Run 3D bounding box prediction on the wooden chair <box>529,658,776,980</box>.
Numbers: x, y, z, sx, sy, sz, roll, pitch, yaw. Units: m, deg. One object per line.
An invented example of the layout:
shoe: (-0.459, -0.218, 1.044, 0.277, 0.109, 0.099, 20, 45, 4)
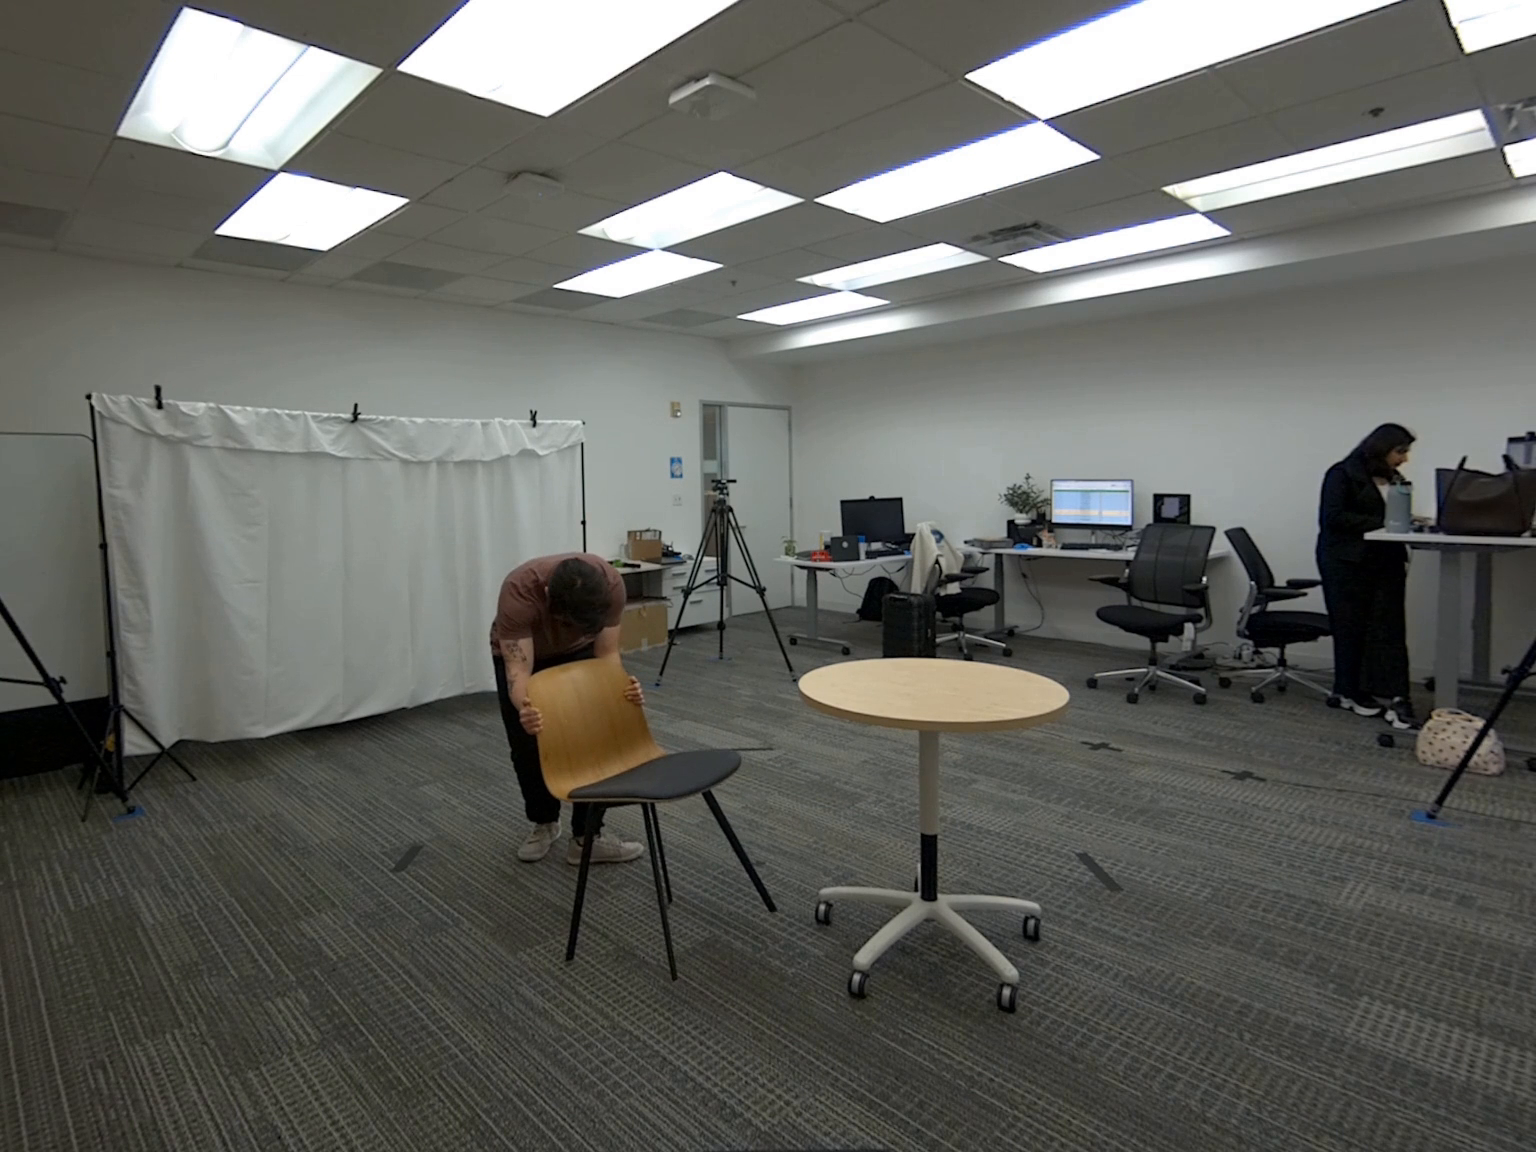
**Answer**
wooden chair: (-0.358, 0.647, 2.557, 0.532, 0.884, 0.466, -20, -8, 39)
